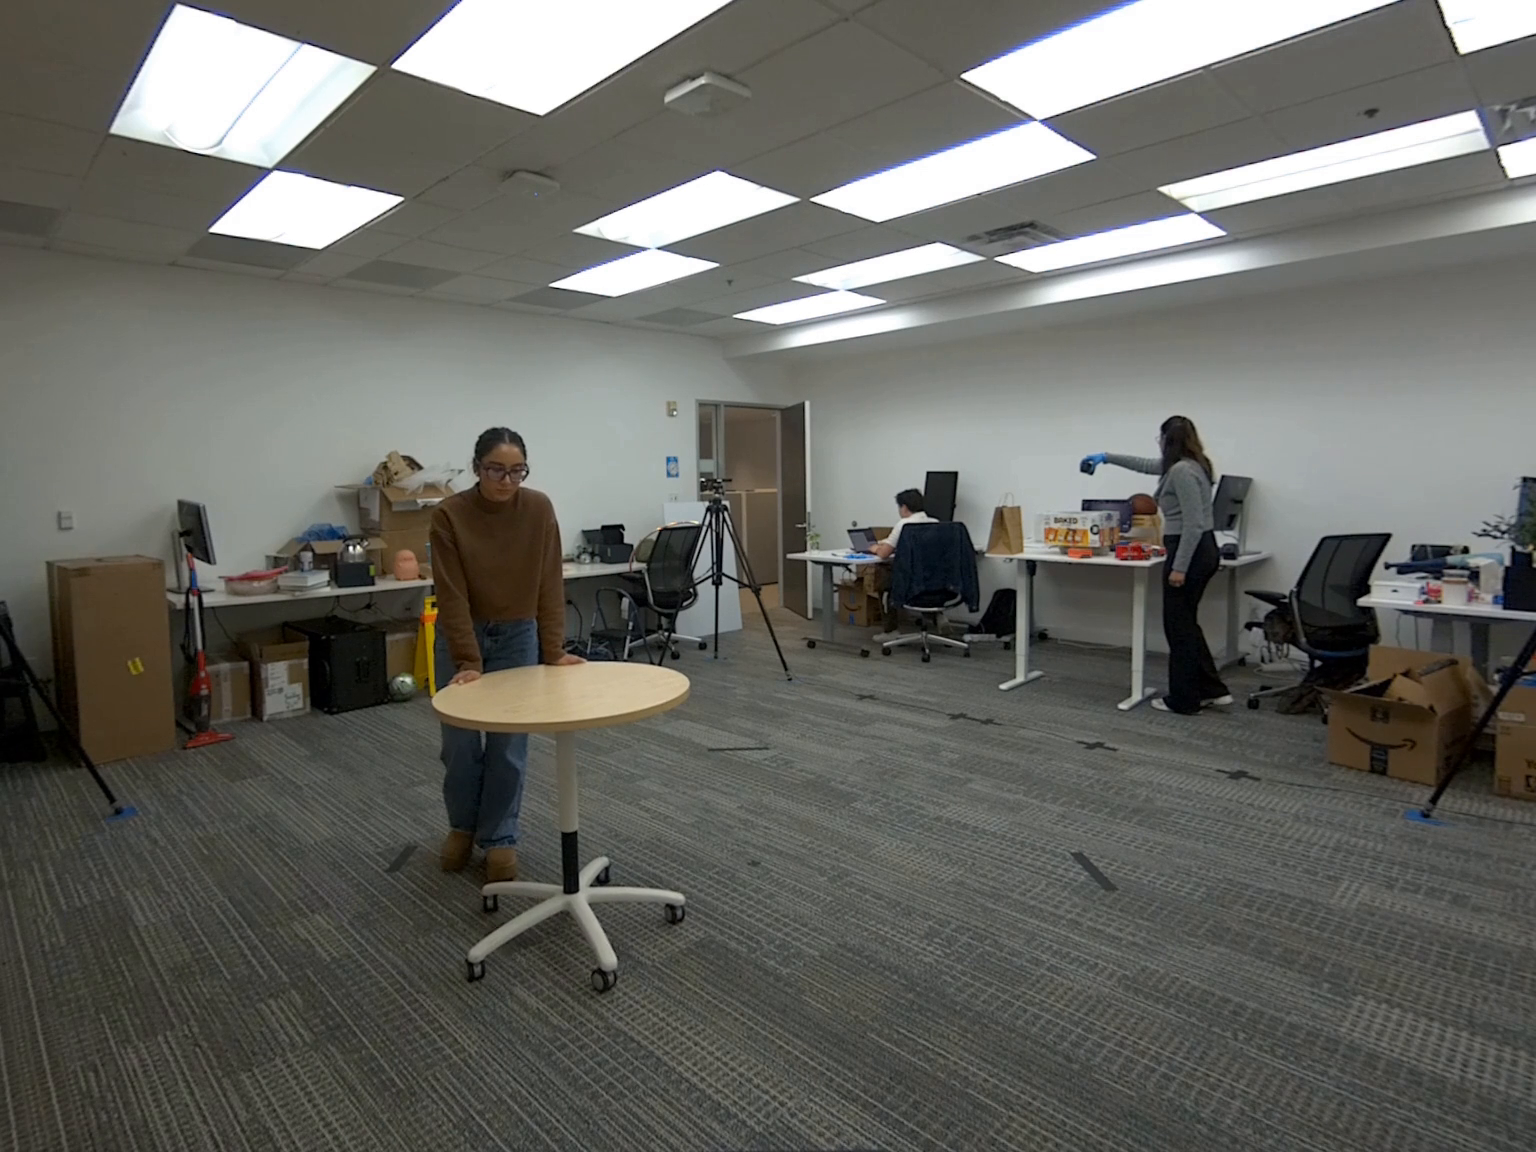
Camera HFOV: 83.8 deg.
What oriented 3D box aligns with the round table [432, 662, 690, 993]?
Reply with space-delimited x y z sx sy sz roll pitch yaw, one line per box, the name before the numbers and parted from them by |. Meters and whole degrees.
round table | -0.608 0.729 2.617 0.763 0.791 0.768 -2 5 -2
